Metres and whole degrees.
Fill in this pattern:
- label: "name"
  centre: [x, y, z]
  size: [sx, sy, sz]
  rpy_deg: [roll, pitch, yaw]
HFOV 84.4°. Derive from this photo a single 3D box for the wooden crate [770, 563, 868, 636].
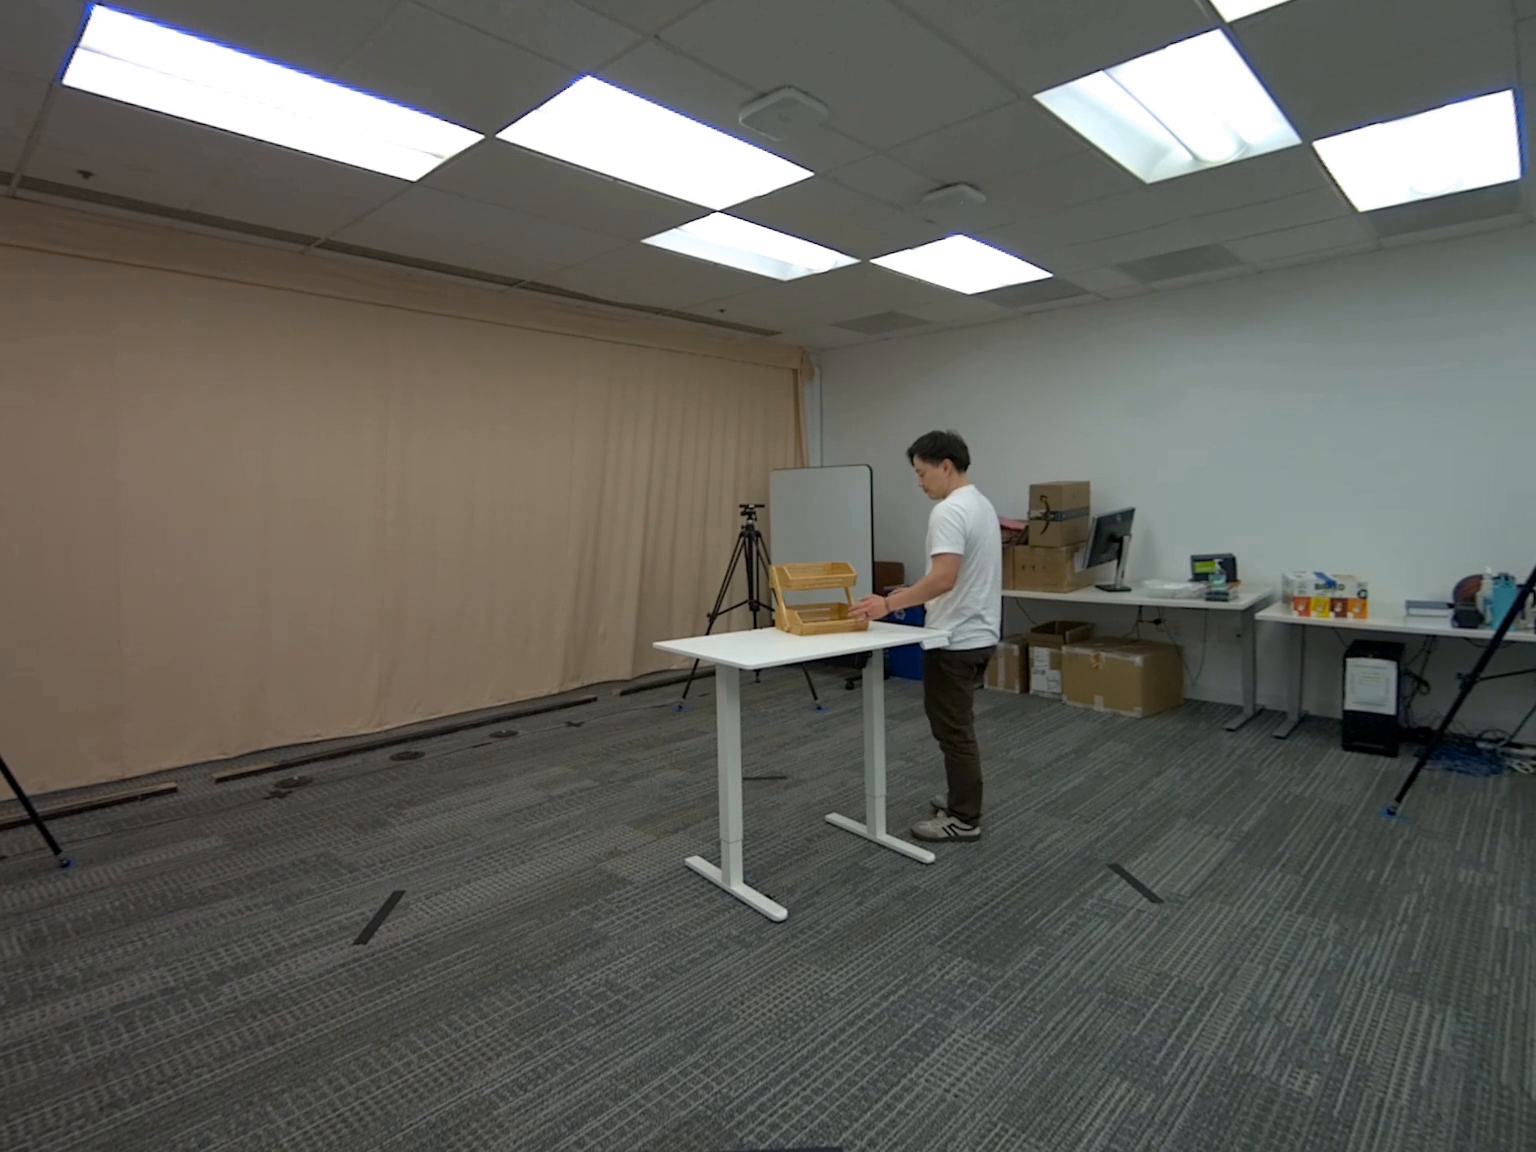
- label: "wooden crate"
  centre: [0.217, 0.087, 3.428]
  size: [0.317, 0.273, 0.309]
  rpy_deg: [-2, 3, -23]
